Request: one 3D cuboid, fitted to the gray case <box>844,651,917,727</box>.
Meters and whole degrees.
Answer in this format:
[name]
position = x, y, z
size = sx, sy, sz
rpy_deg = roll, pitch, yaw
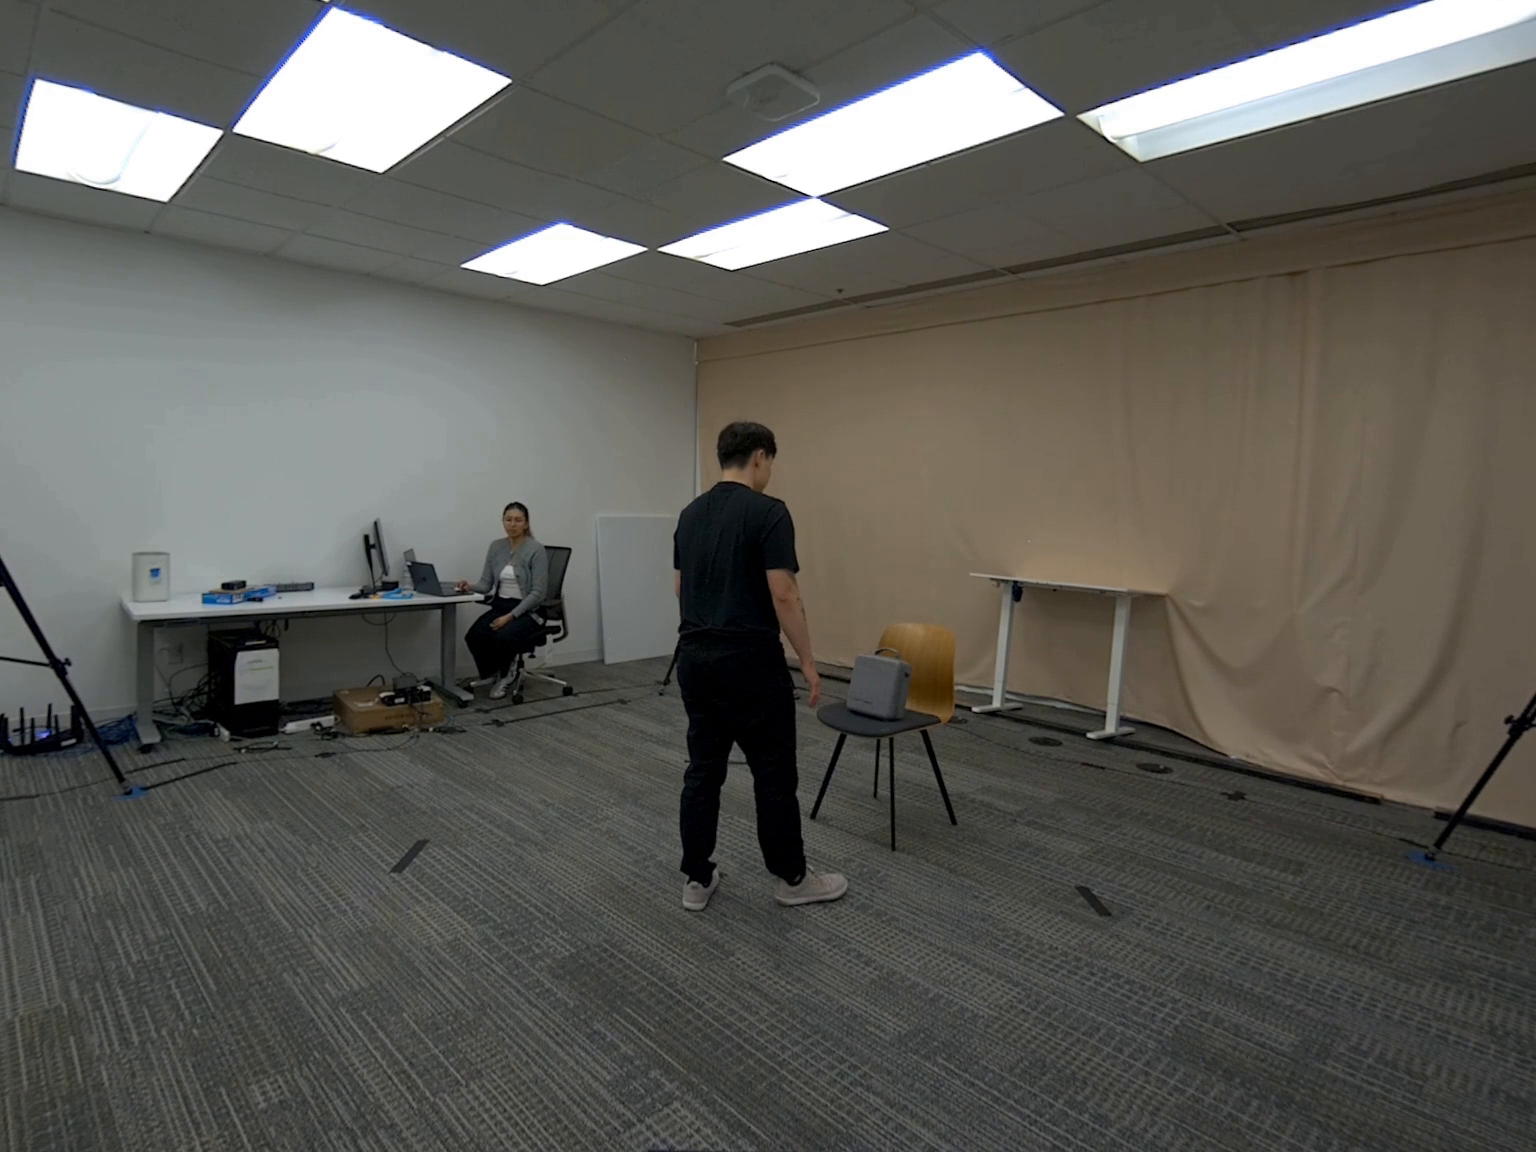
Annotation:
[gray case]
position = 0.474, 0.473, 3.595
size = 0.101, 0.261, 0.263
rpy_deg = 16, -6, -38
